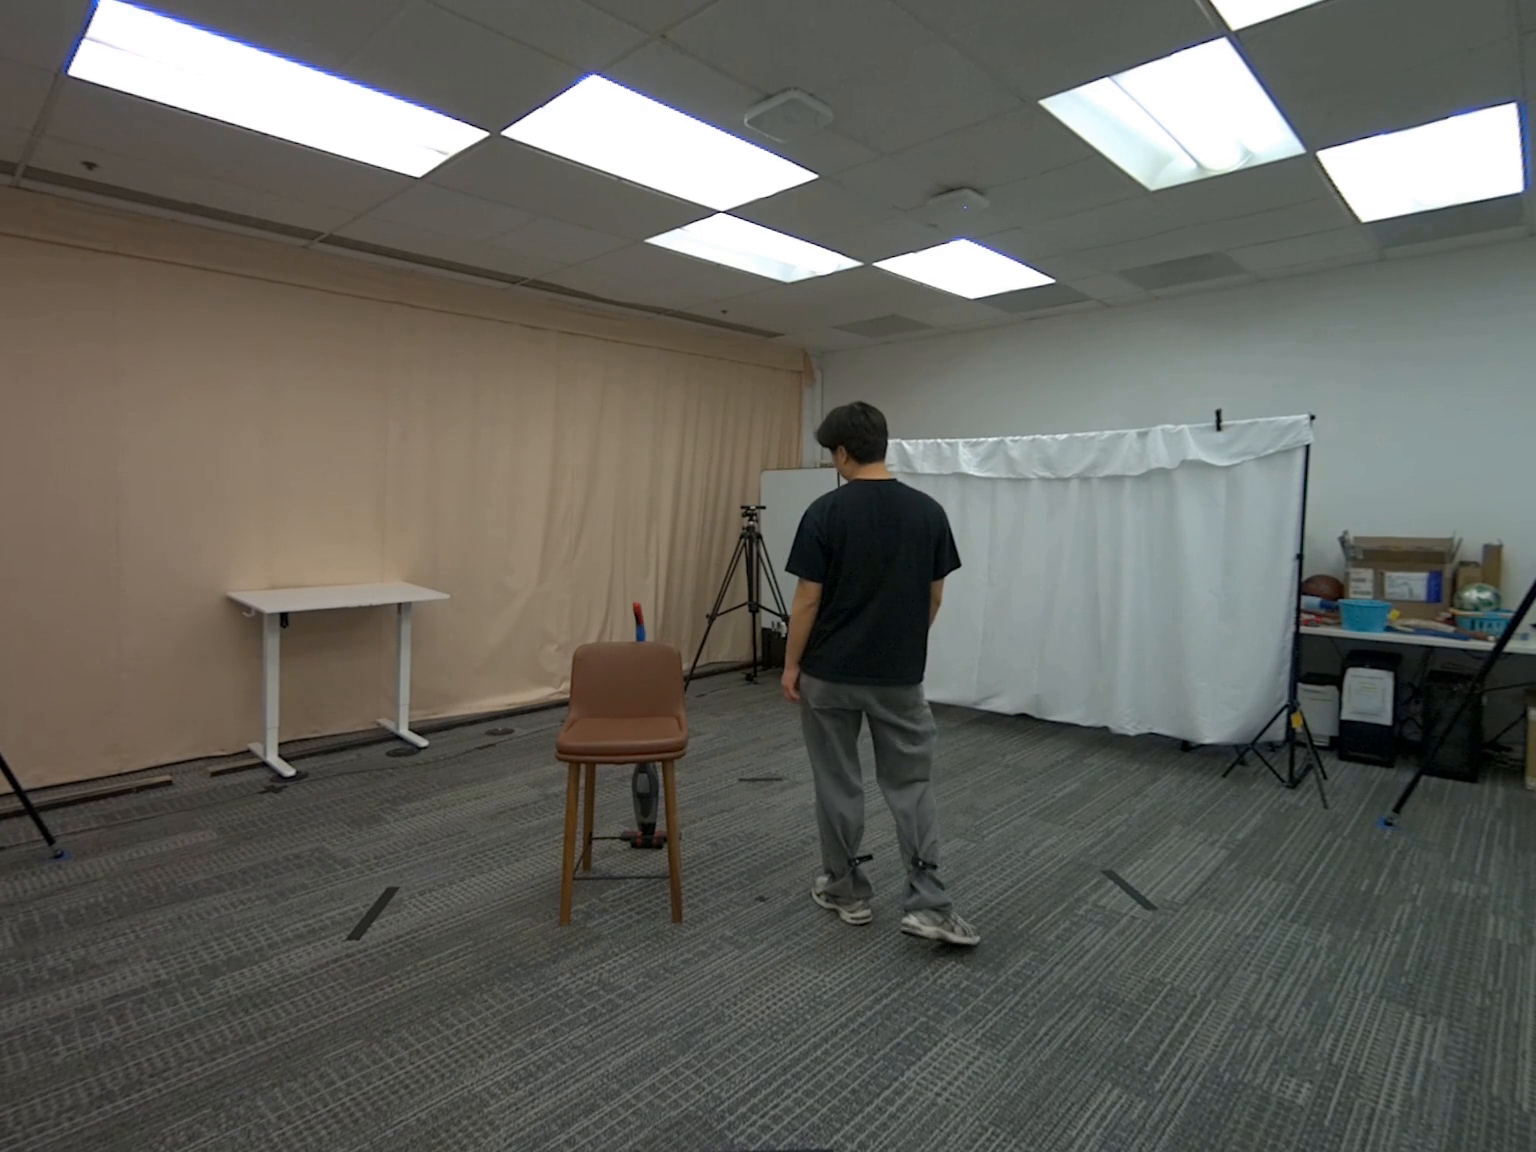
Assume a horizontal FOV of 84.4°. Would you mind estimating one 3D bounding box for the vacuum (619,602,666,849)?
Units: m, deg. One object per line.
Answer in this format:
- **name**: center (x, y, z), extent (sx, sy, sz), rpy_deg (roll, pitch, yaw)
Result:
- **vacuum**: center (-0.495, 0.604, 3.357), extent (0.252, 1.039, 0.145), rpy_deg (0, 15, -1)
